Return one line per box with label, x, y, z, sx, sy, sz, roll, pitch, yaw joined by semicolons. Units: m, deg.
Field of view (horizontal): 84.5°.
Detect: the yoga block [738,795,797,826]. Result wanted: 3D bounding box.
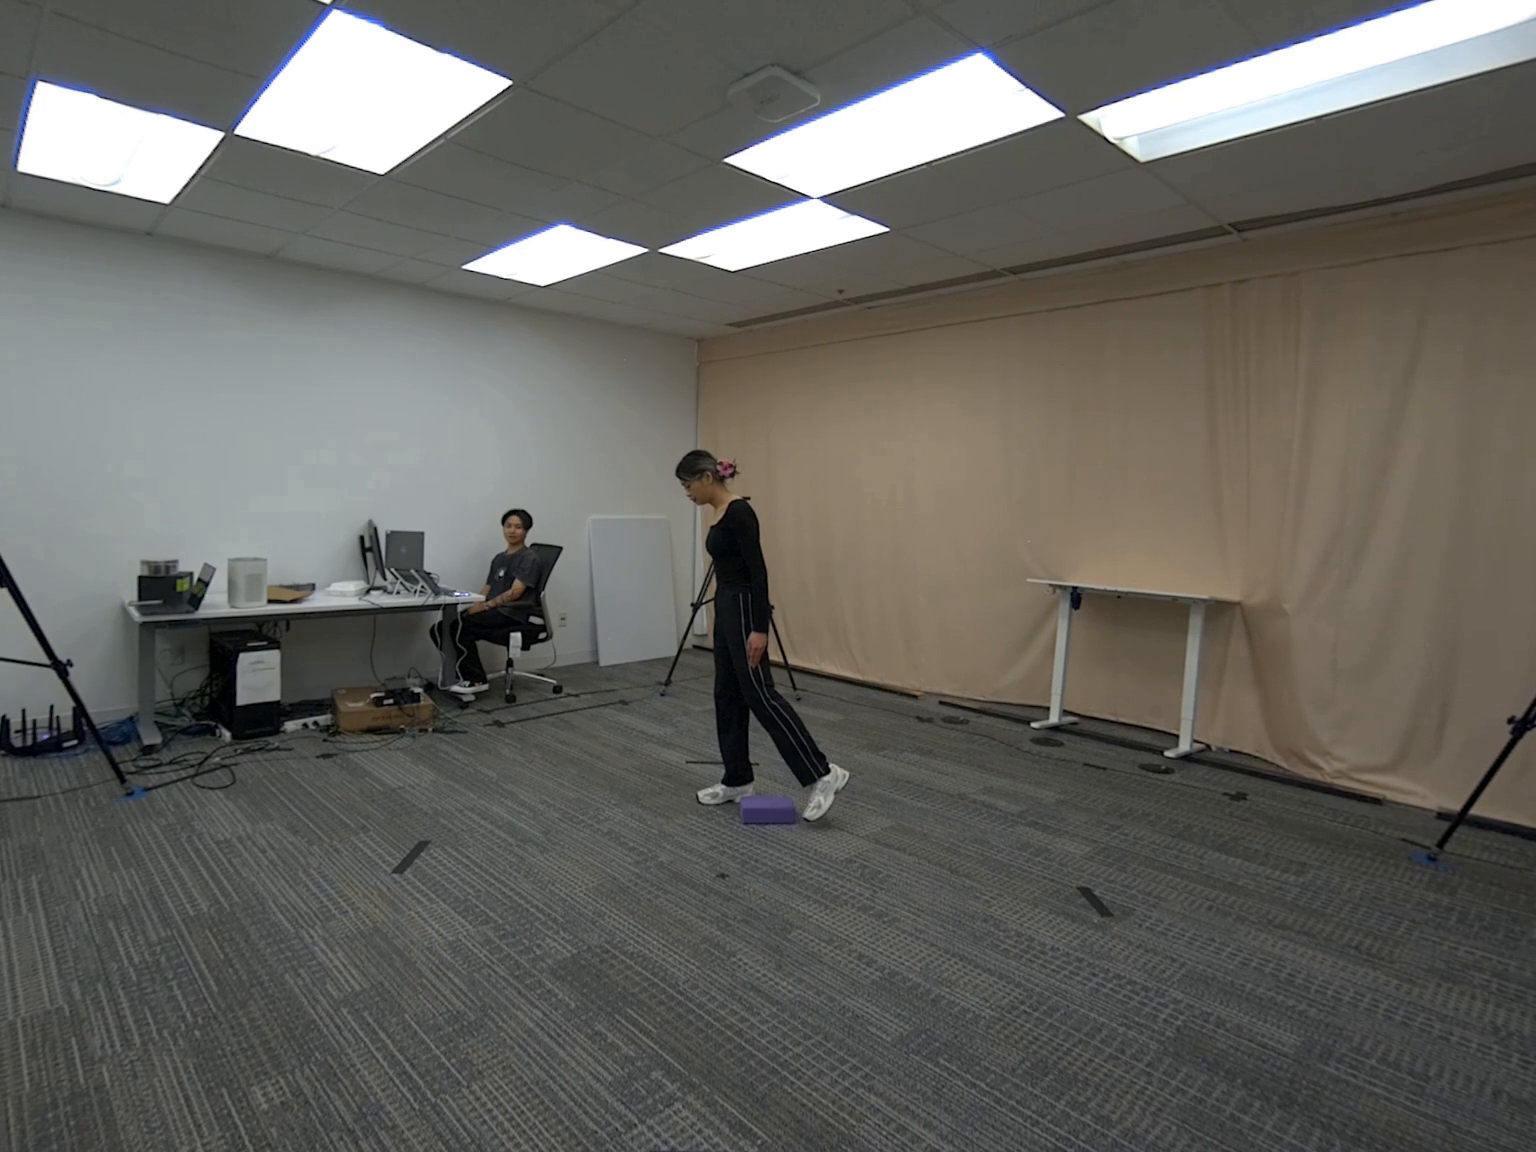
yoga block;-0.012;1.021;3.681;0.228;0.076;0.150;1;5;-4
